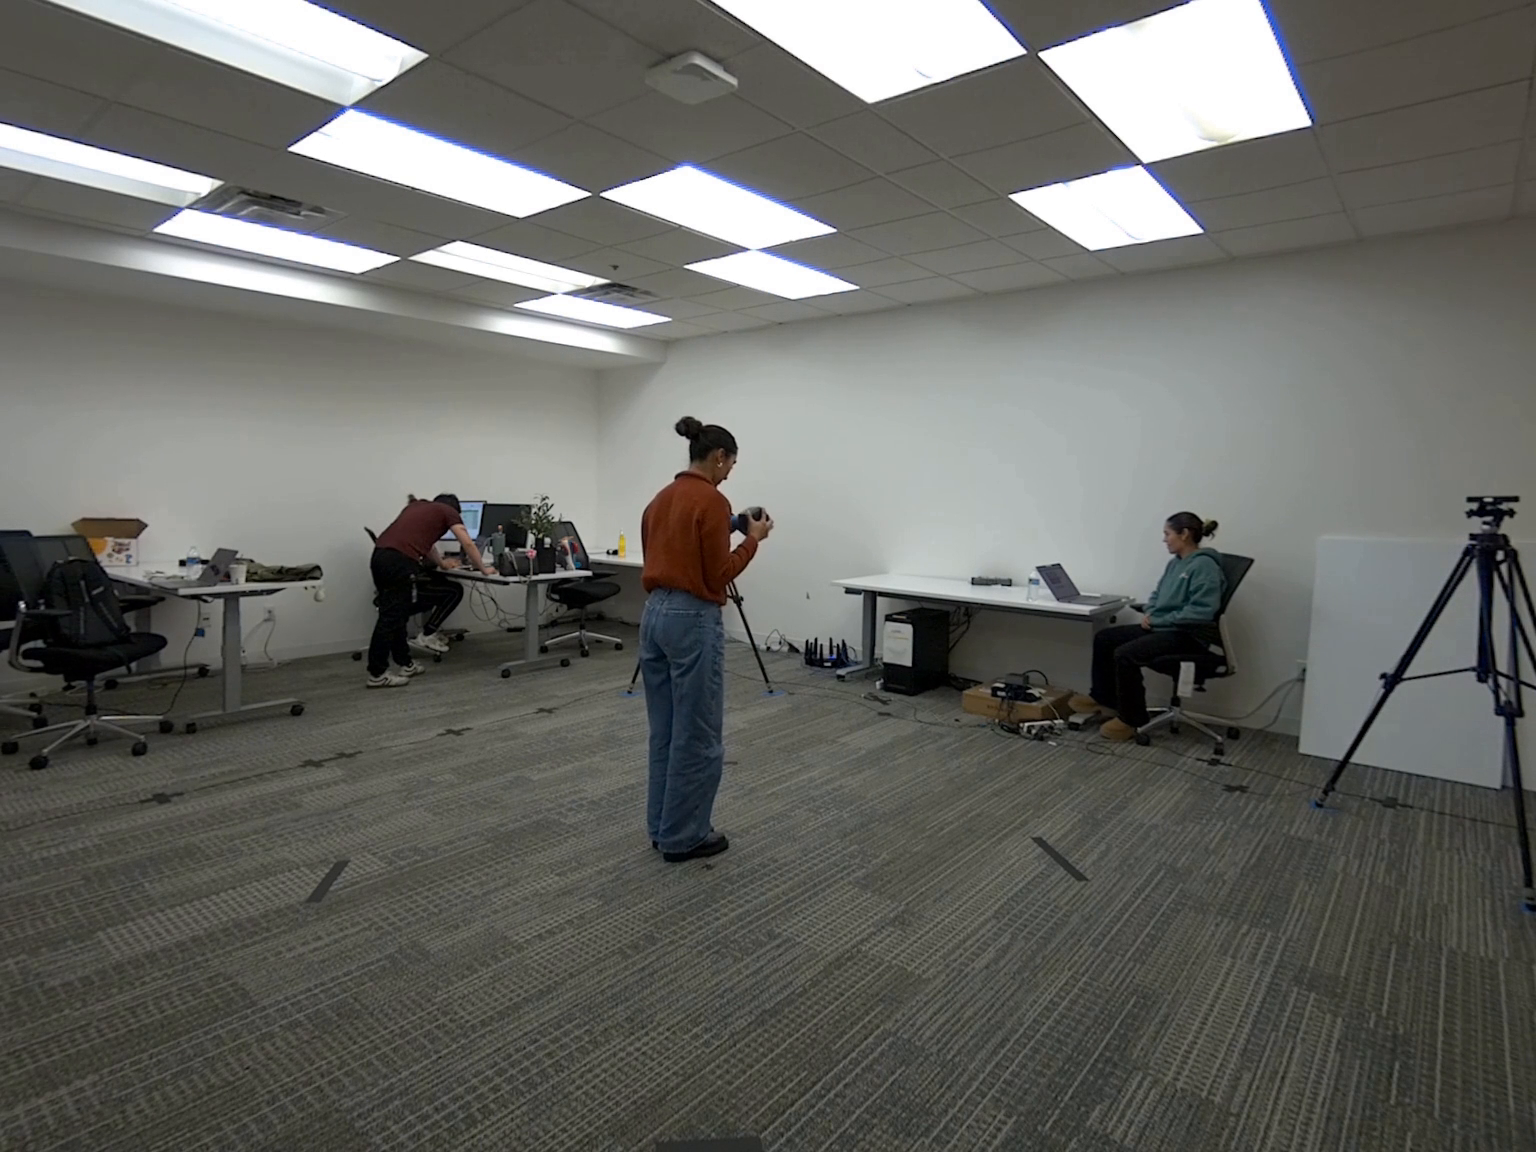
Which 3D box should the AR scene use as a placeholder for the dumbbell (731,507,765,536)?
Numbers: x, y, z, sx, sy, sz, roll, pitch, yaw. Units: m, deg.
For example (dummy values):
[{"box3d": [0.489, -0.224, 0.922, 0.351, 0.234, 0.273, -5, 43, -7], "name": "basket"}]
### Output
[{"box3d": [-0.143, -0.196, 3.357, 0.121, 0.106, 0.302, -32, 20, -34], "name": "dumbbell"}]
